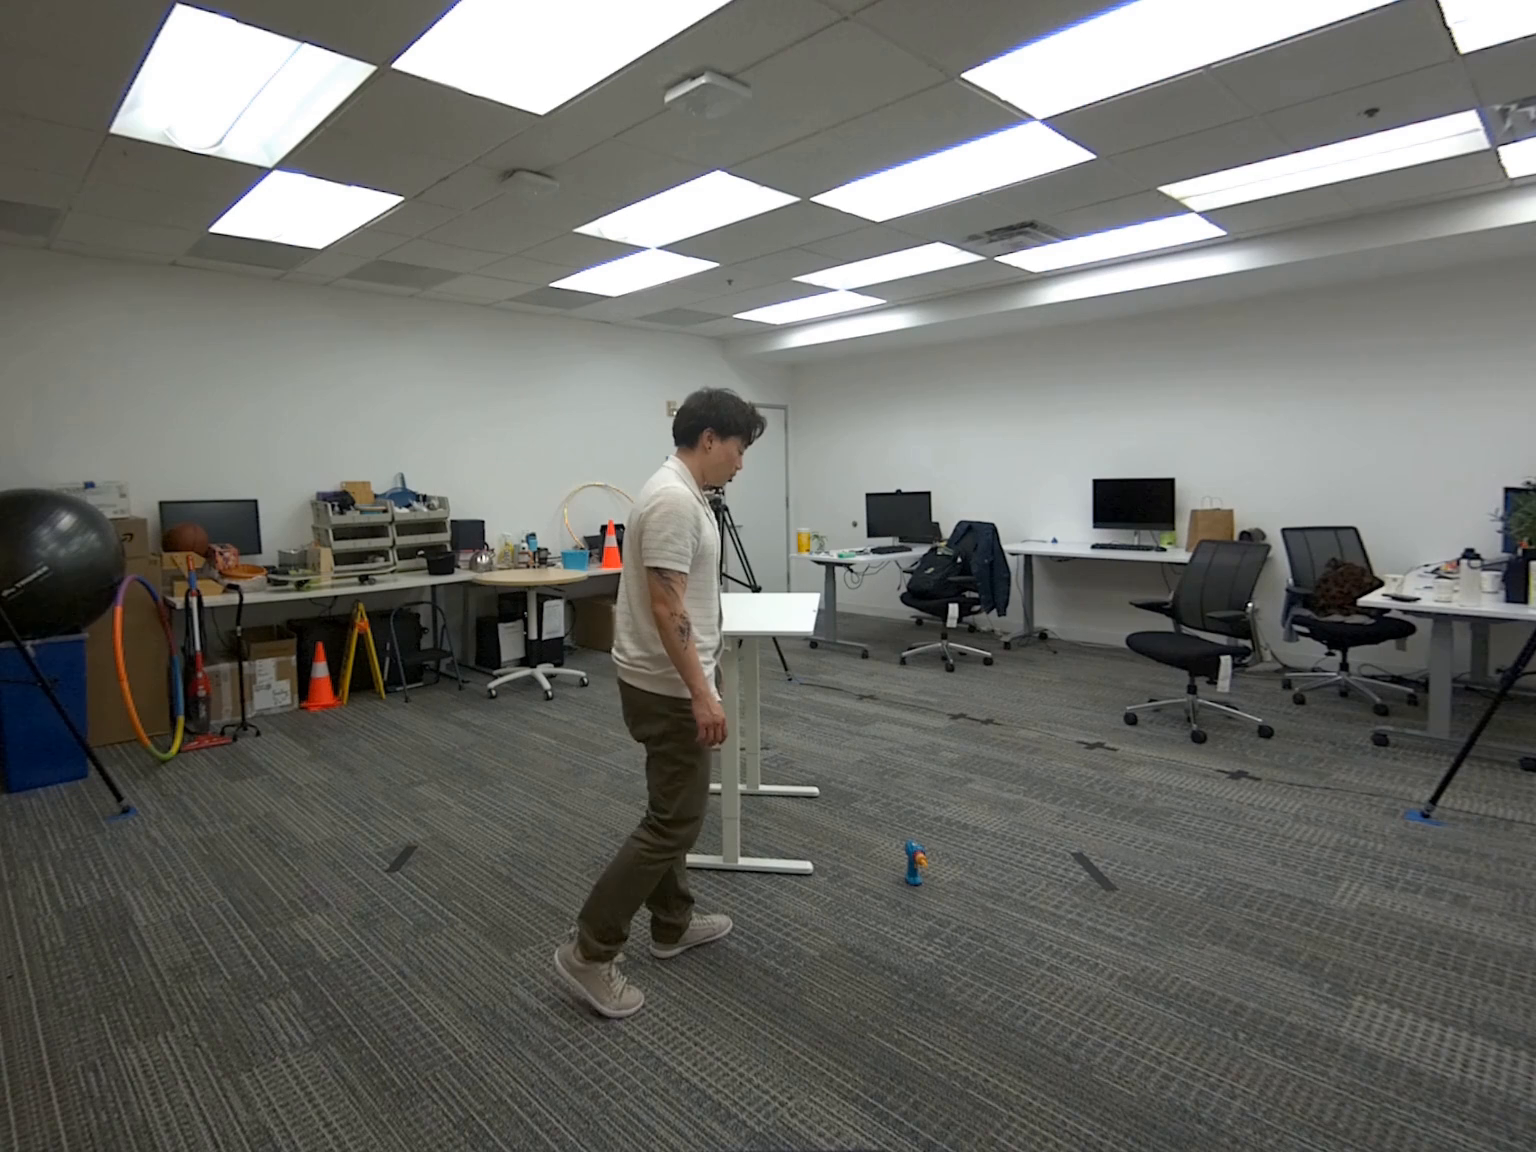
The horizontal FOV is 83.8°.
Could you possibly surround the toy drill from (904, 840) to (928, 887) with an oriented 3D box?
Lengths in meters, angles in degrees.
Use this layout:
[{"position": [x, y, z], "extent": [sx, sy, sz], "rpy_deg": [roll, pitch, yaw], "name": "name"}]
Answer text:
[{"position": [0.510, 0.986, 2.898], "extent": [0.061, 0.145, 0.171], "rpy_deg": [-2, 5, -8], "name": "toy drill"}]
